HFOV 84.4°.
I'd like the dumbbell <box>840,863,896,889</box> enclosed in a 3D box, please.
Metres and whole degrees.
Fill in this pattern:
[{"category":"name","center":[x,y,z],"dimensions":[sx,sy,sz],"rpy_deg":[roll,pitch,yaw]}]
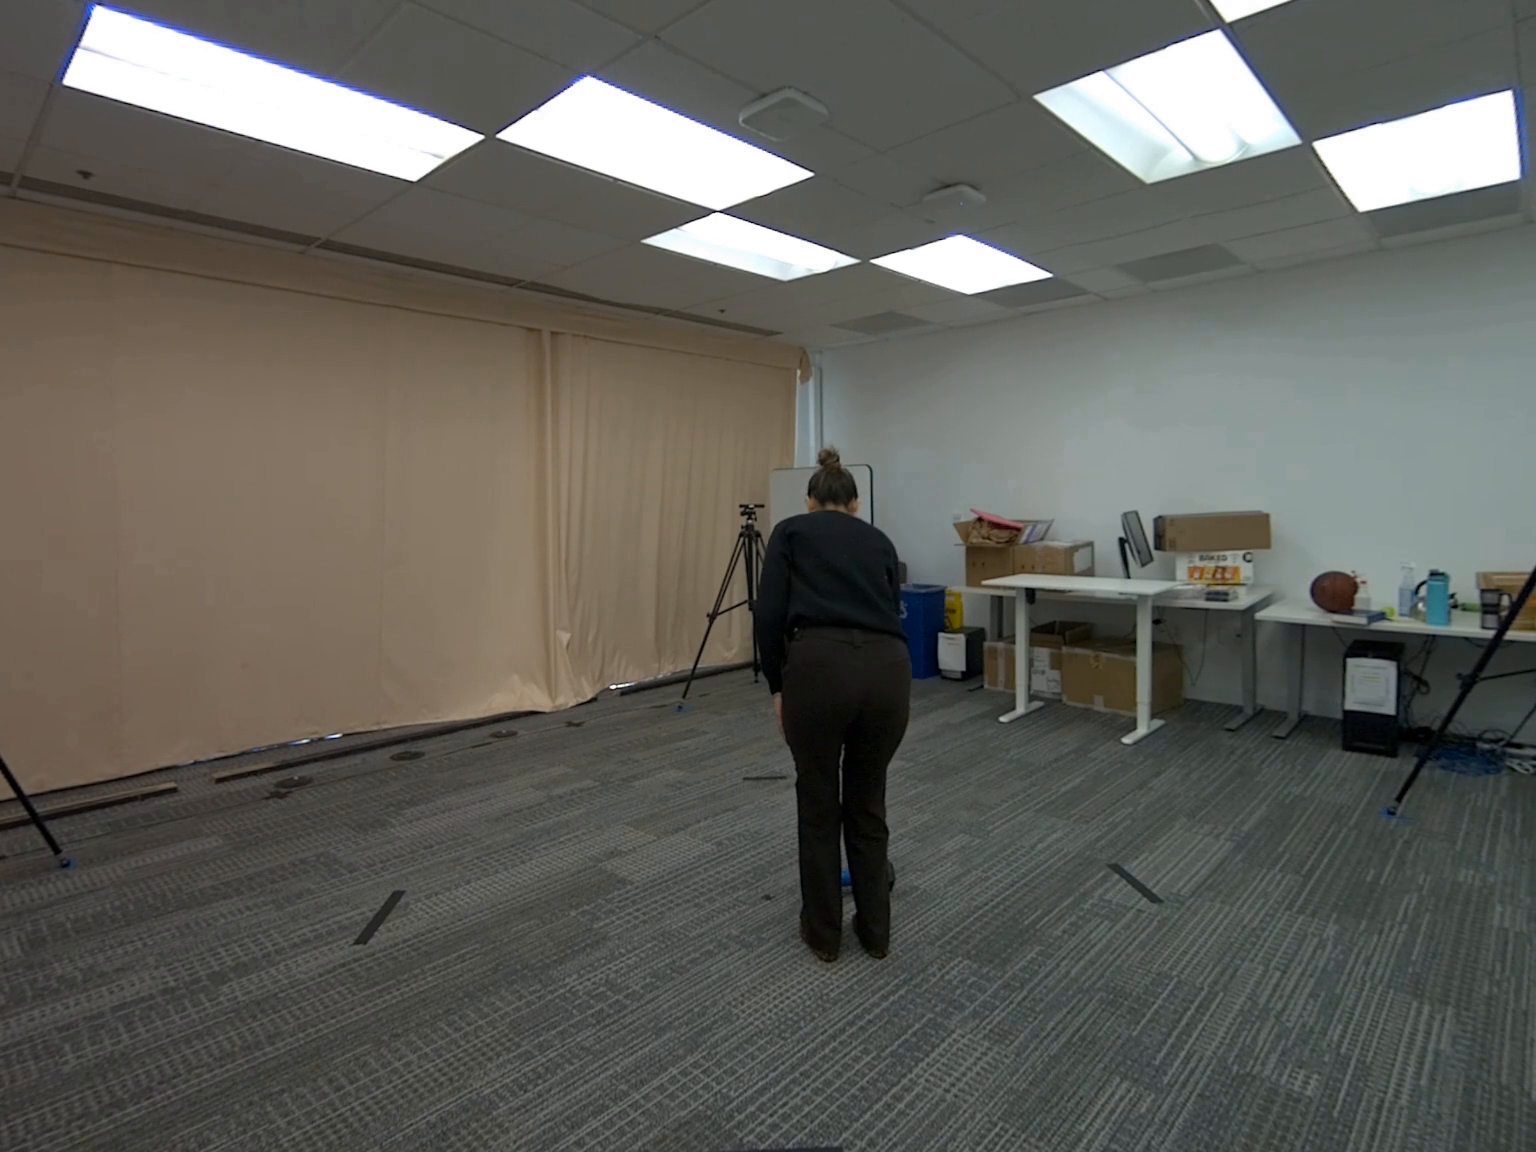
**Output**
[{"category":"dumbbell","center":[0.307,1.077,3.008],"dimensions":[0.290,0.125,0.108],"rpy_deg":[-2,-26,-10]}]
